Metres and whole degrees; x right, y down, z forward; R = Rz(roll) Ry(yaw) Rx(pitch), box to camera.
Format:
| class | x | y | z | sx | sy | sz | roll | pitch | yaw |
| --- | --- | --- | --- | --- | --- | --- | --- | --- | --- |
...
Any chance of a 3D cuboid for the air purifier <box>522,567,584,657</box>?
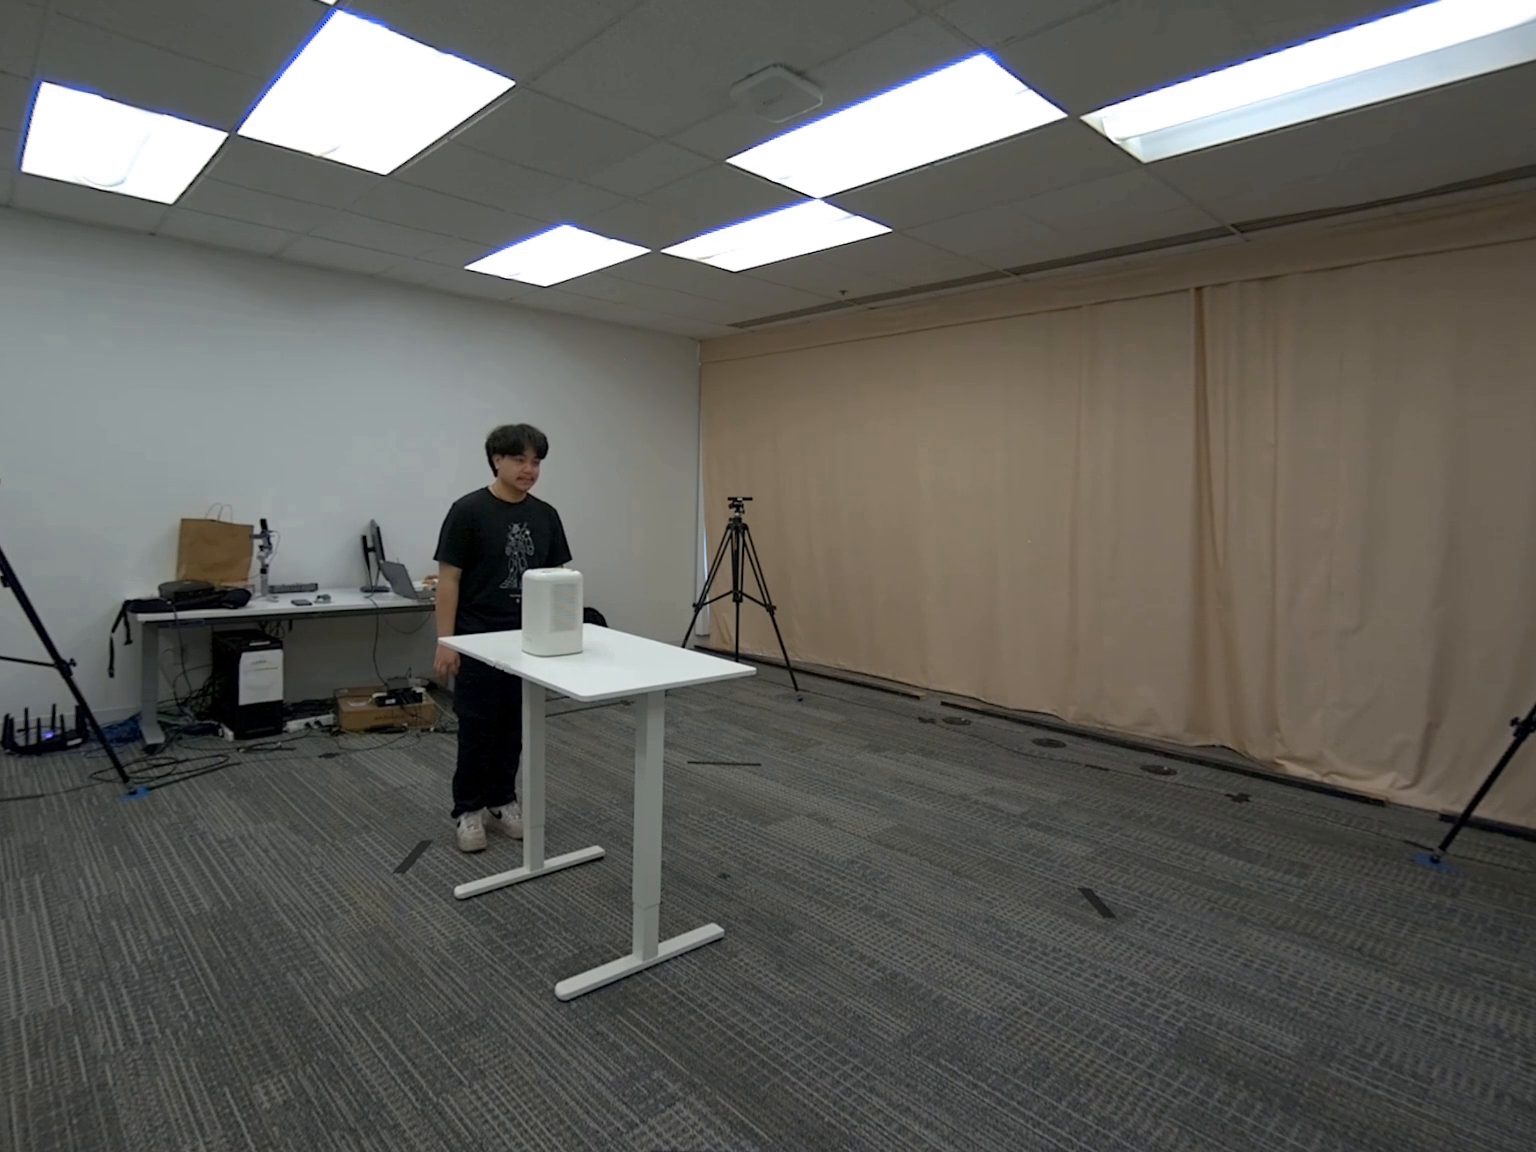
| class | x | y | z | sx | sy | sz | roll | pitch | yaw |
| --- | --- | --- | --- | --- | --- | --- | --- | --- | --- |
| air purifier | -0.705 | 0.114 | 2.720 | 0.168 | 0.264 | 0.175 | -2 | 5 | -41 |
